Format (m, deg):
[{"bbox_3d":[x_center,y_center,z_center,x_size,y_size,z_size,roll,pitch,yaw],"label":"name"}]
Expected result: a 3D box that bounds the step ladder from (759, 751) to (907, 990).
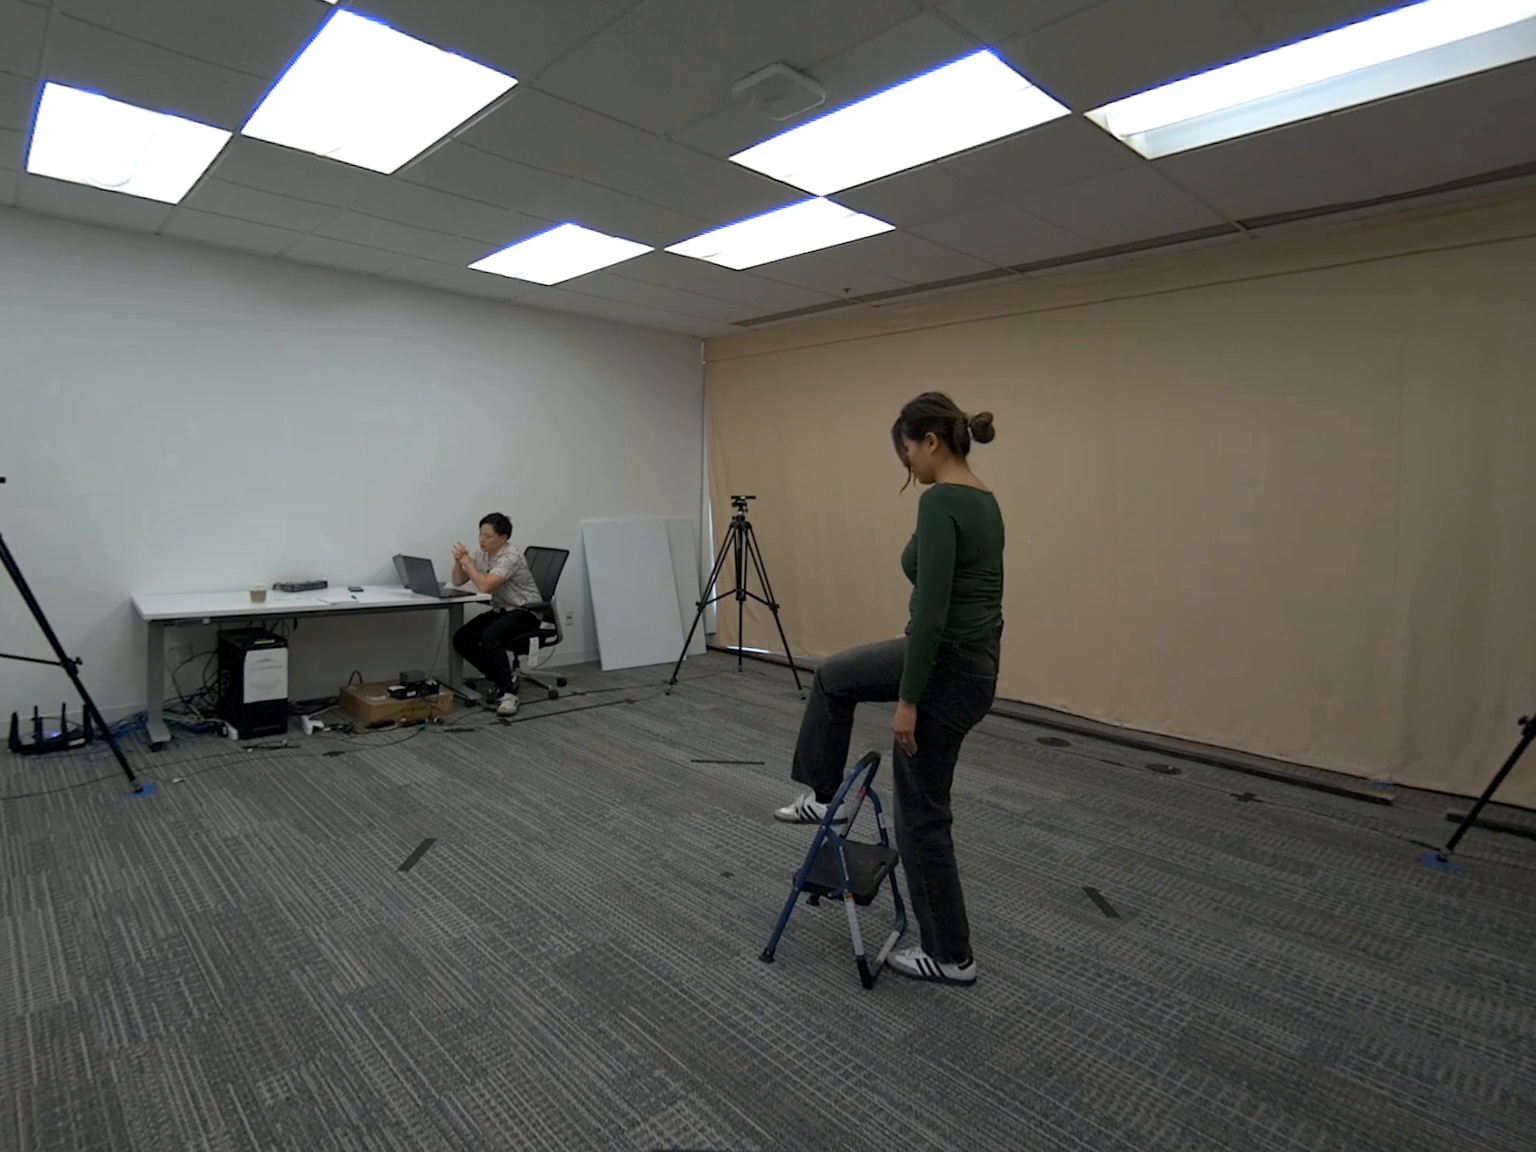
[{"bbox_3d":[0.220,0.853,2.626,0.356,0.604,0.423,3,4,24],"label":"step ladder"}]
